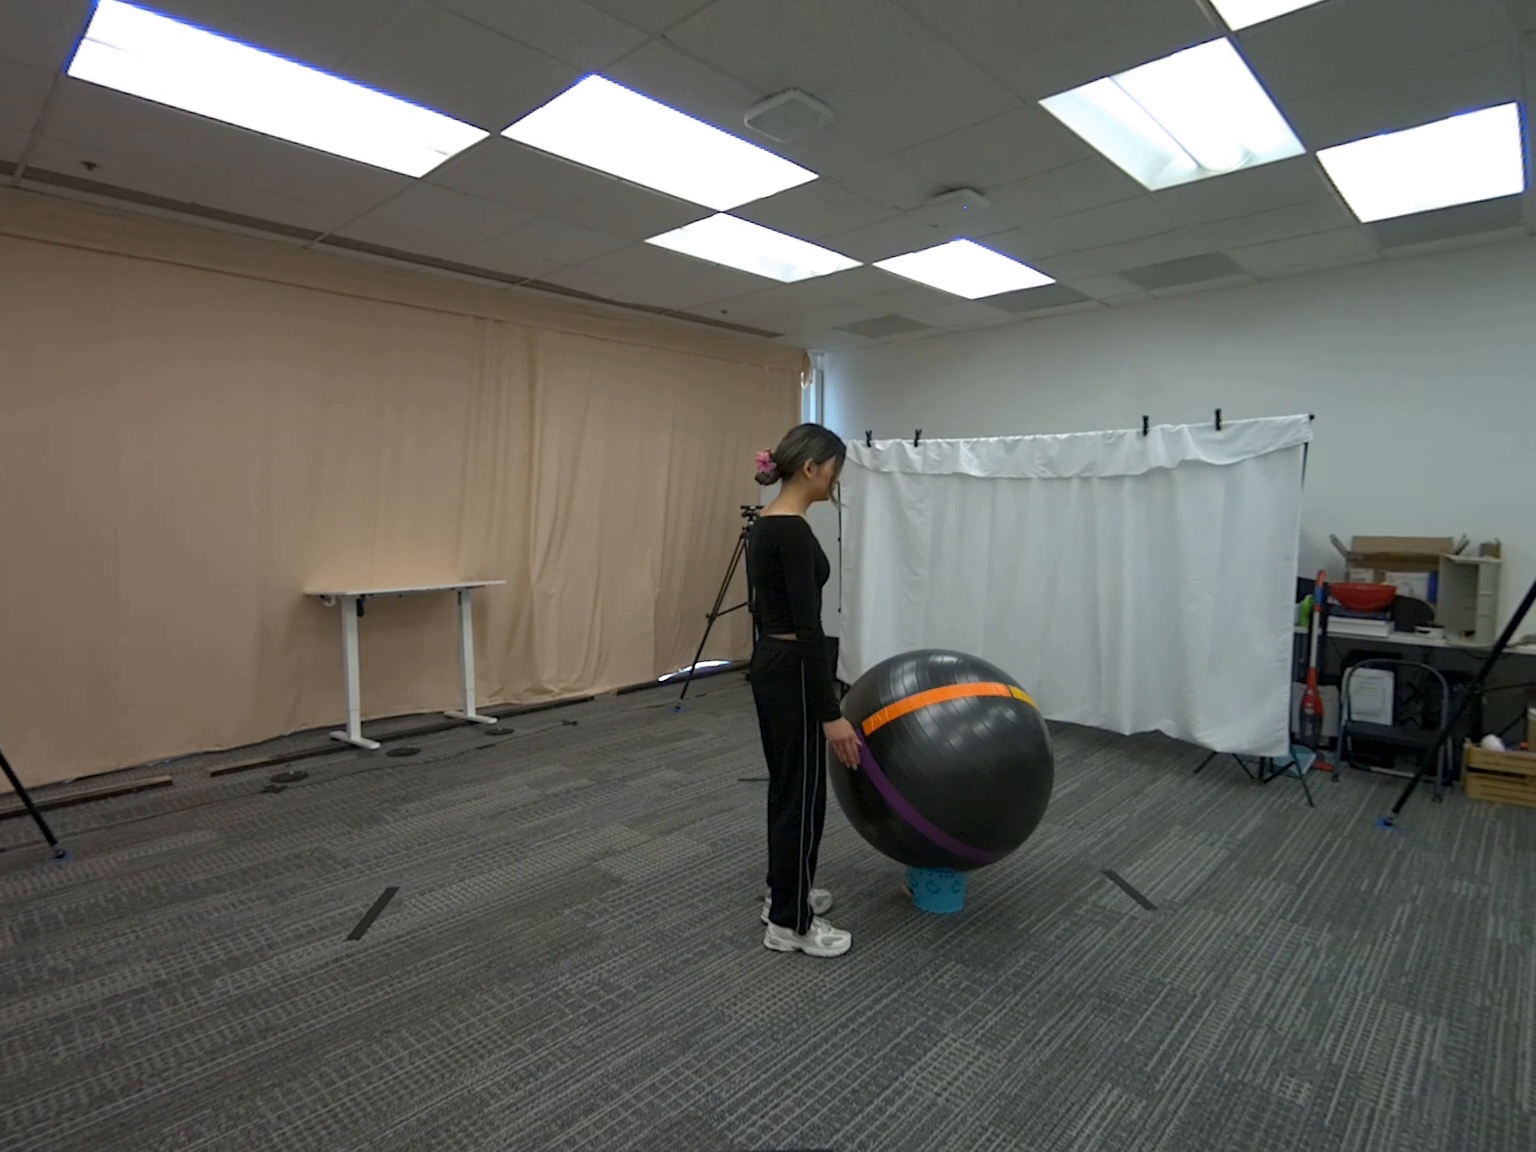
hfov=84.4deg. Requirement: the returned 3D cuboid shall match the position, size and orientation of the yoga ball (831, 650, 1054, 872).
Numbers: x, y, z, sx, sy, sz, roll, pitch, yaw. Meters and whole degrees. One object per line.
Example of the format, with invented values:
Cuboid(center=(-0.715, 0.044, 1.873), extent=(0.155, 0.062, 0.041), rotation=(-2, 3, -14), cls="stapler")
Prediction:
Cuboid(center=(0.604, 0.639, 2.946), extent=(0.757, 0.756, 0.760), rotation=(0, 4, -2), cls="yoga ball")
